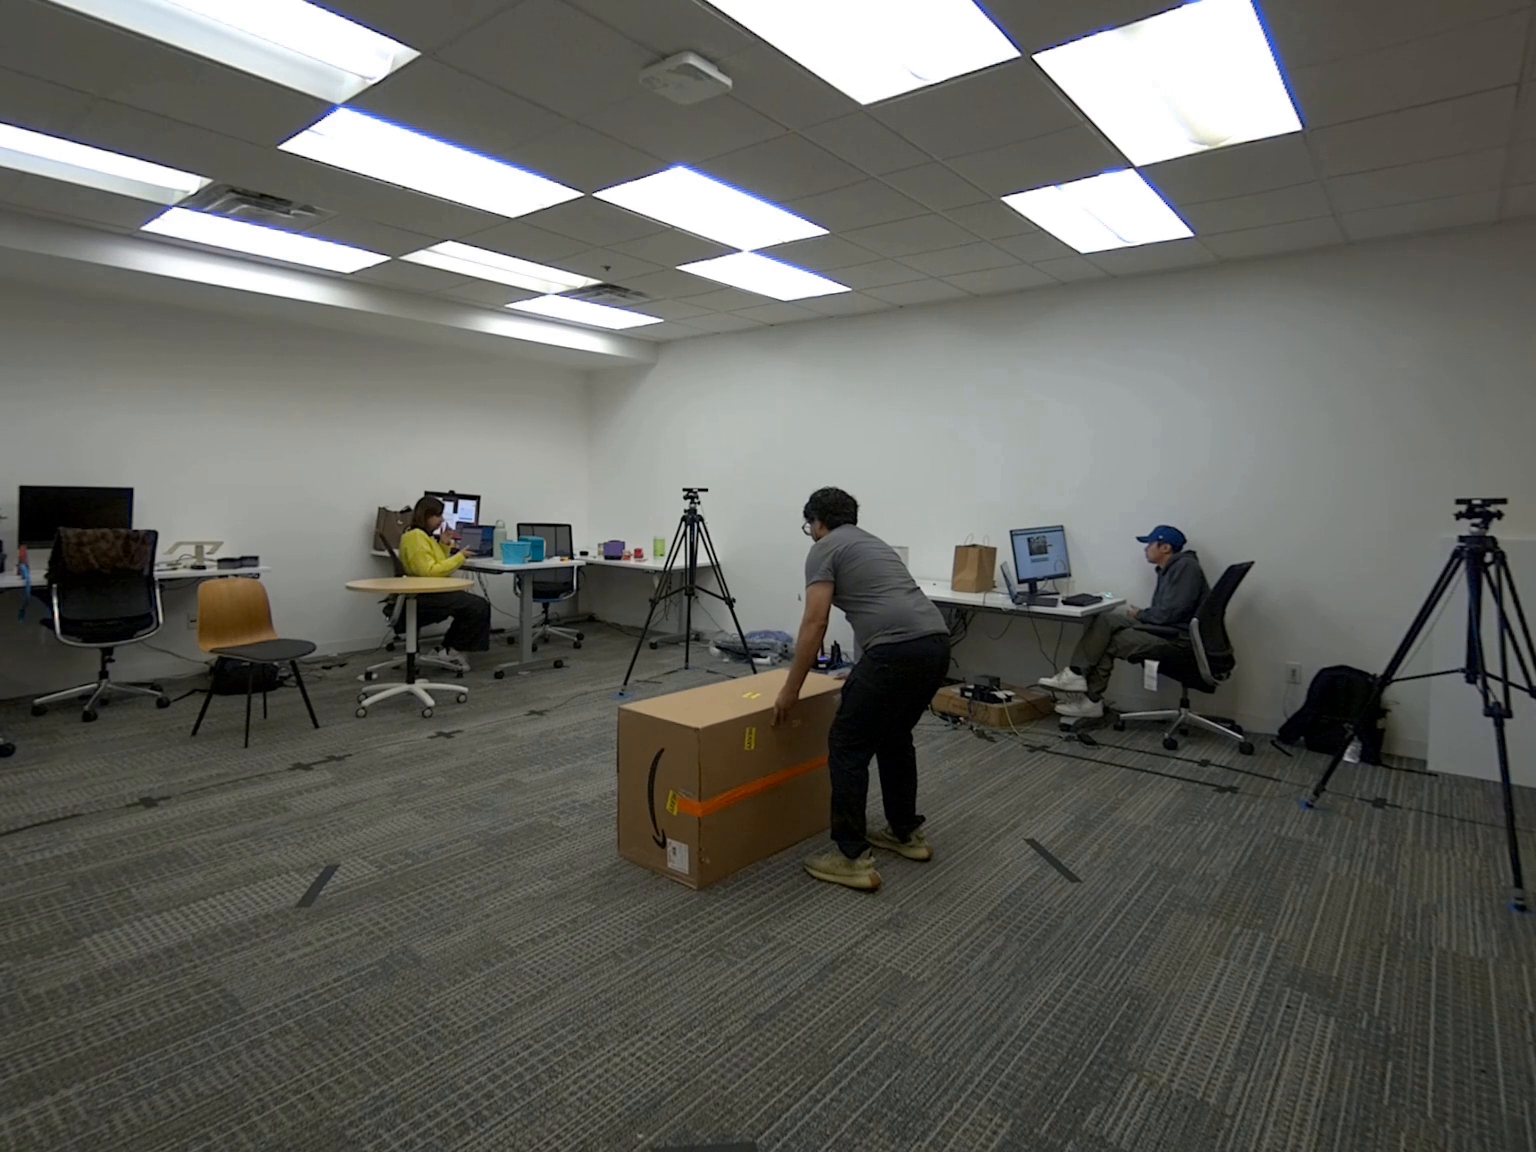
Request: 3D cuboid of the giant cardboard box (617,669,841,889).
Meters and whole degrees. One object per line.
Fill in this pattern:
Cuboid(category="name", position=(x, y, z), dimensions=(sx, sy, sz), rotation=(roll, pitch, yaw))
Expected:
Cuboid(category="giant cardboard box", position=(-0.095, 0.755, 3.435), dimensions=(0.440, 0.576, 0.995), rotation=(4, 5, 40))
